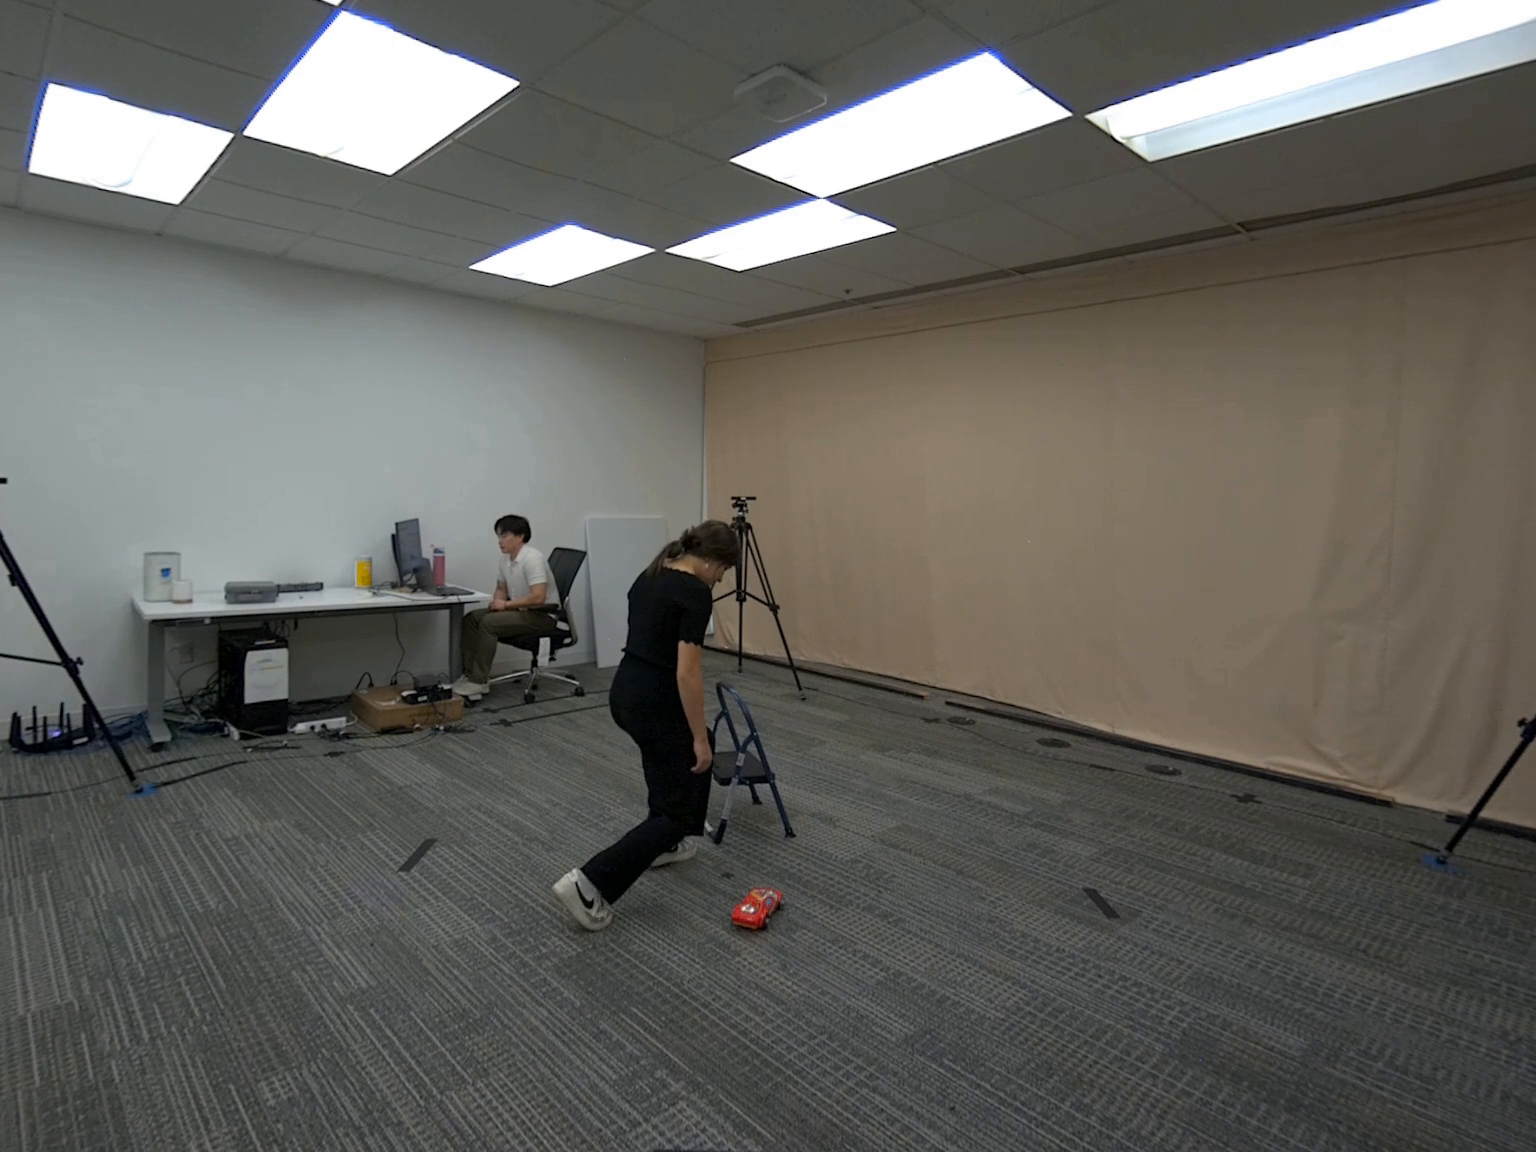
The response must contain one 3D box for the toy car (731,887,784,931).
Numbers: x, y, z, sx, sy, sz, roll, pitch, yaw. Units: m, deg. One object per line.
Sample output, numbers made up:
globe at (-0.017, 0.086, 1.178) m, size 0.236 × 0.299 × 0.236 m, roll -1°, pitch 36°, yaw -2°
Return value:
toy car at (-0.050, 1.108, 2.786) m, size 0.132 × 0.083 × 0.250 m, roll 8°, pitch -2°, yaw 19°
